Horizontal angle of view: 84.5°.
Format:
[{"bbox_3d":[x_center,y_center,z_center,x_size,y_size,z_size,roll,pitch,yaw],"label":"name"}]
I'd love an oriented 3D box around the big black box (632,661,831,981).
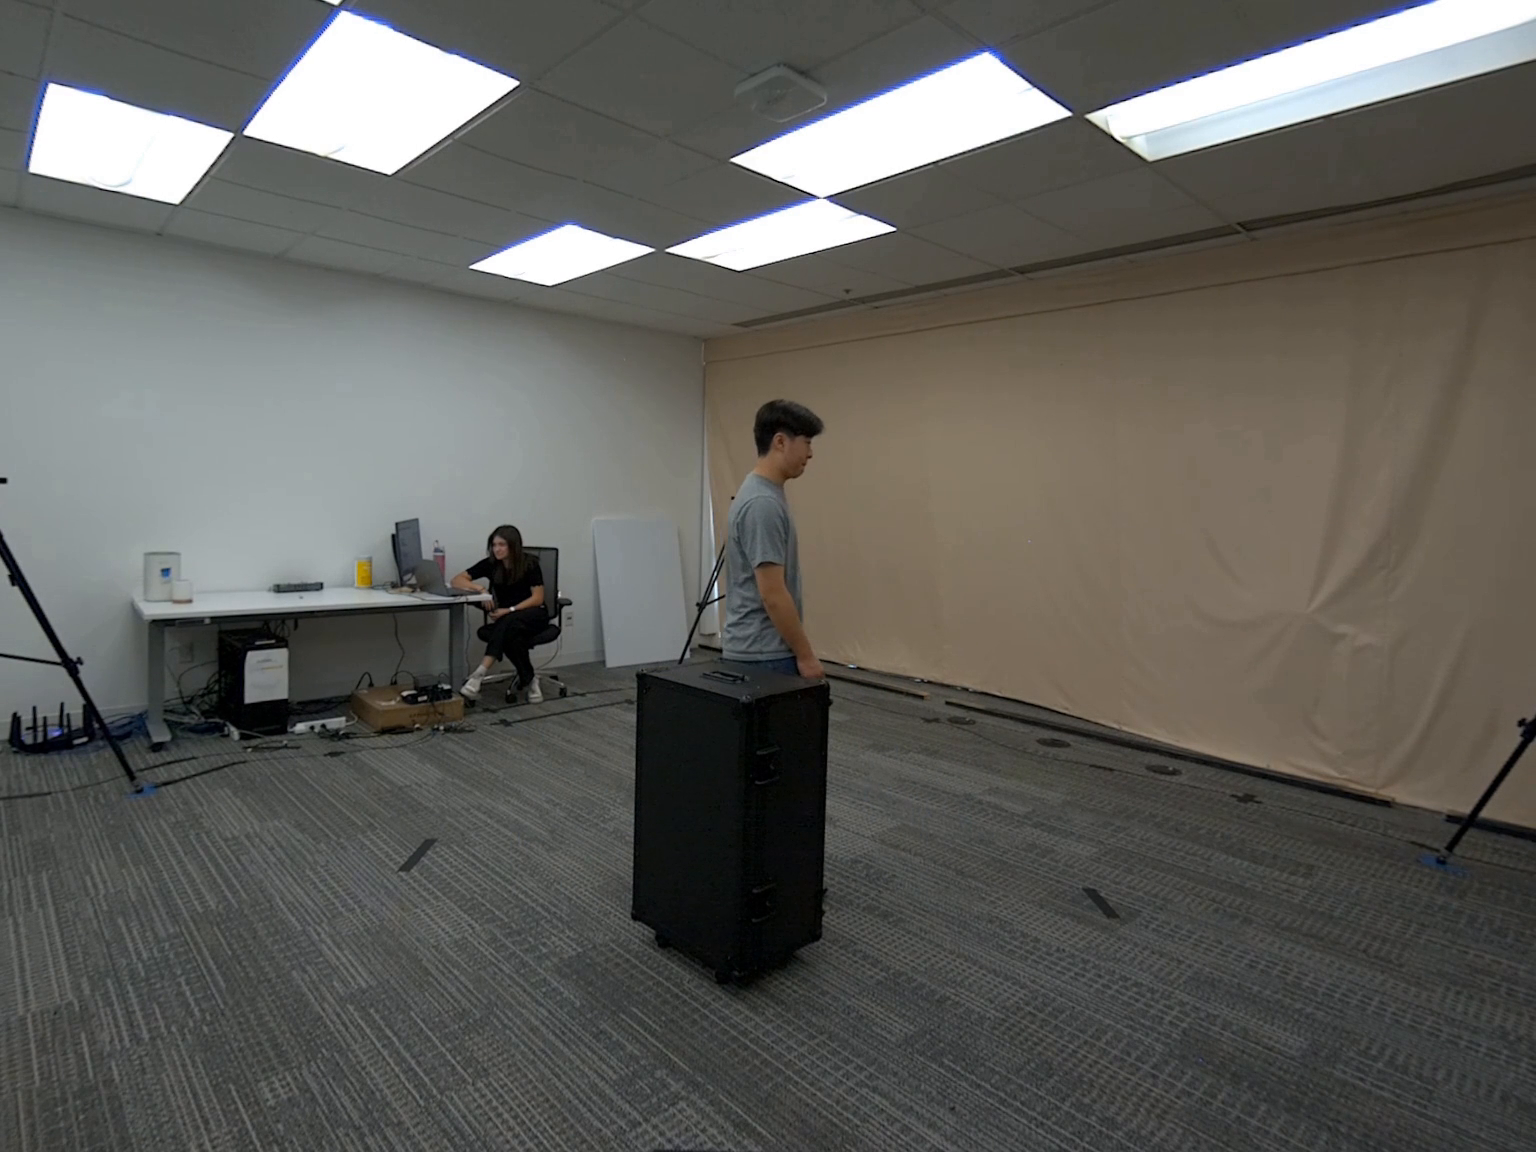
[{"bbox_3d":[-0.124,0.728,2.568,0.534,0.860,0.387,5,4,44],"label":"big black box"}]
